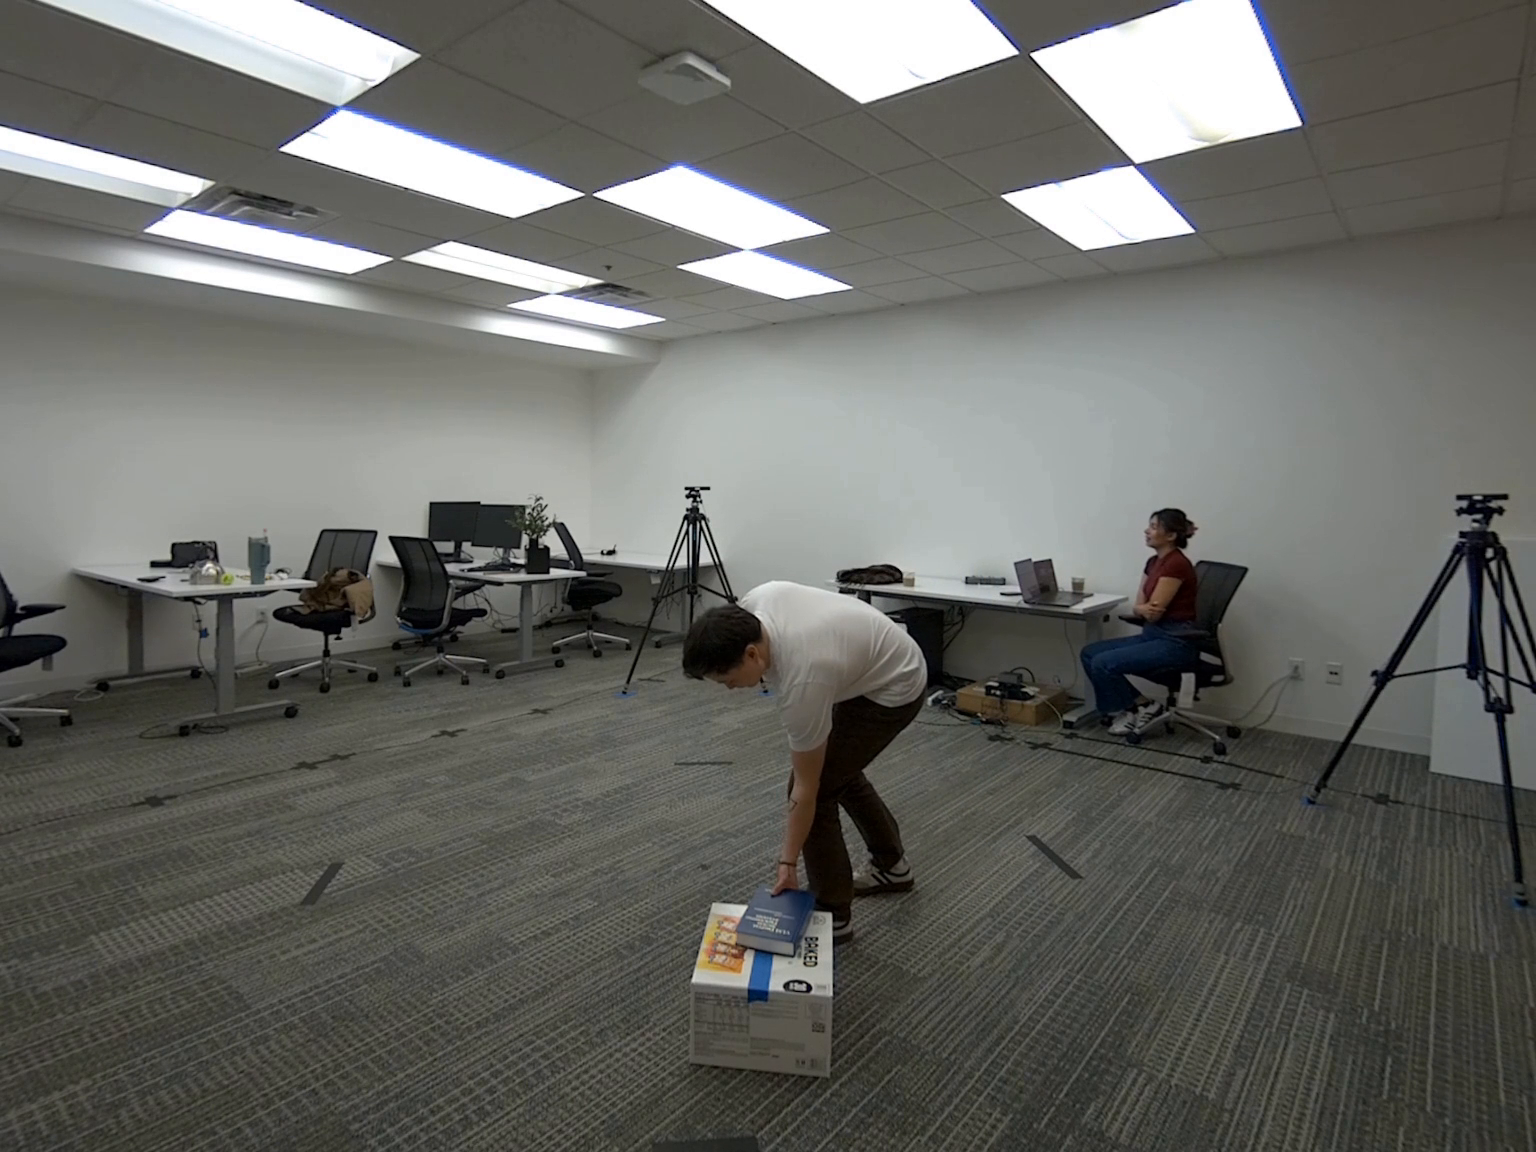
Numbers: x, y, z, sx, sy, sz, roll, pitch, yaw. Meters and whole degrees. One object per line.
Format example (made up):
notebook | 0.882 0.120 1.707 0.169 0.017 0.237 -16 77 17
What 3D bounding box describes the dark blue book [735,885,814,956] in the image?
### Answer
dark blue book | 0.017 0.932 2.302 0.166 0.045 0.242 3 11 17
